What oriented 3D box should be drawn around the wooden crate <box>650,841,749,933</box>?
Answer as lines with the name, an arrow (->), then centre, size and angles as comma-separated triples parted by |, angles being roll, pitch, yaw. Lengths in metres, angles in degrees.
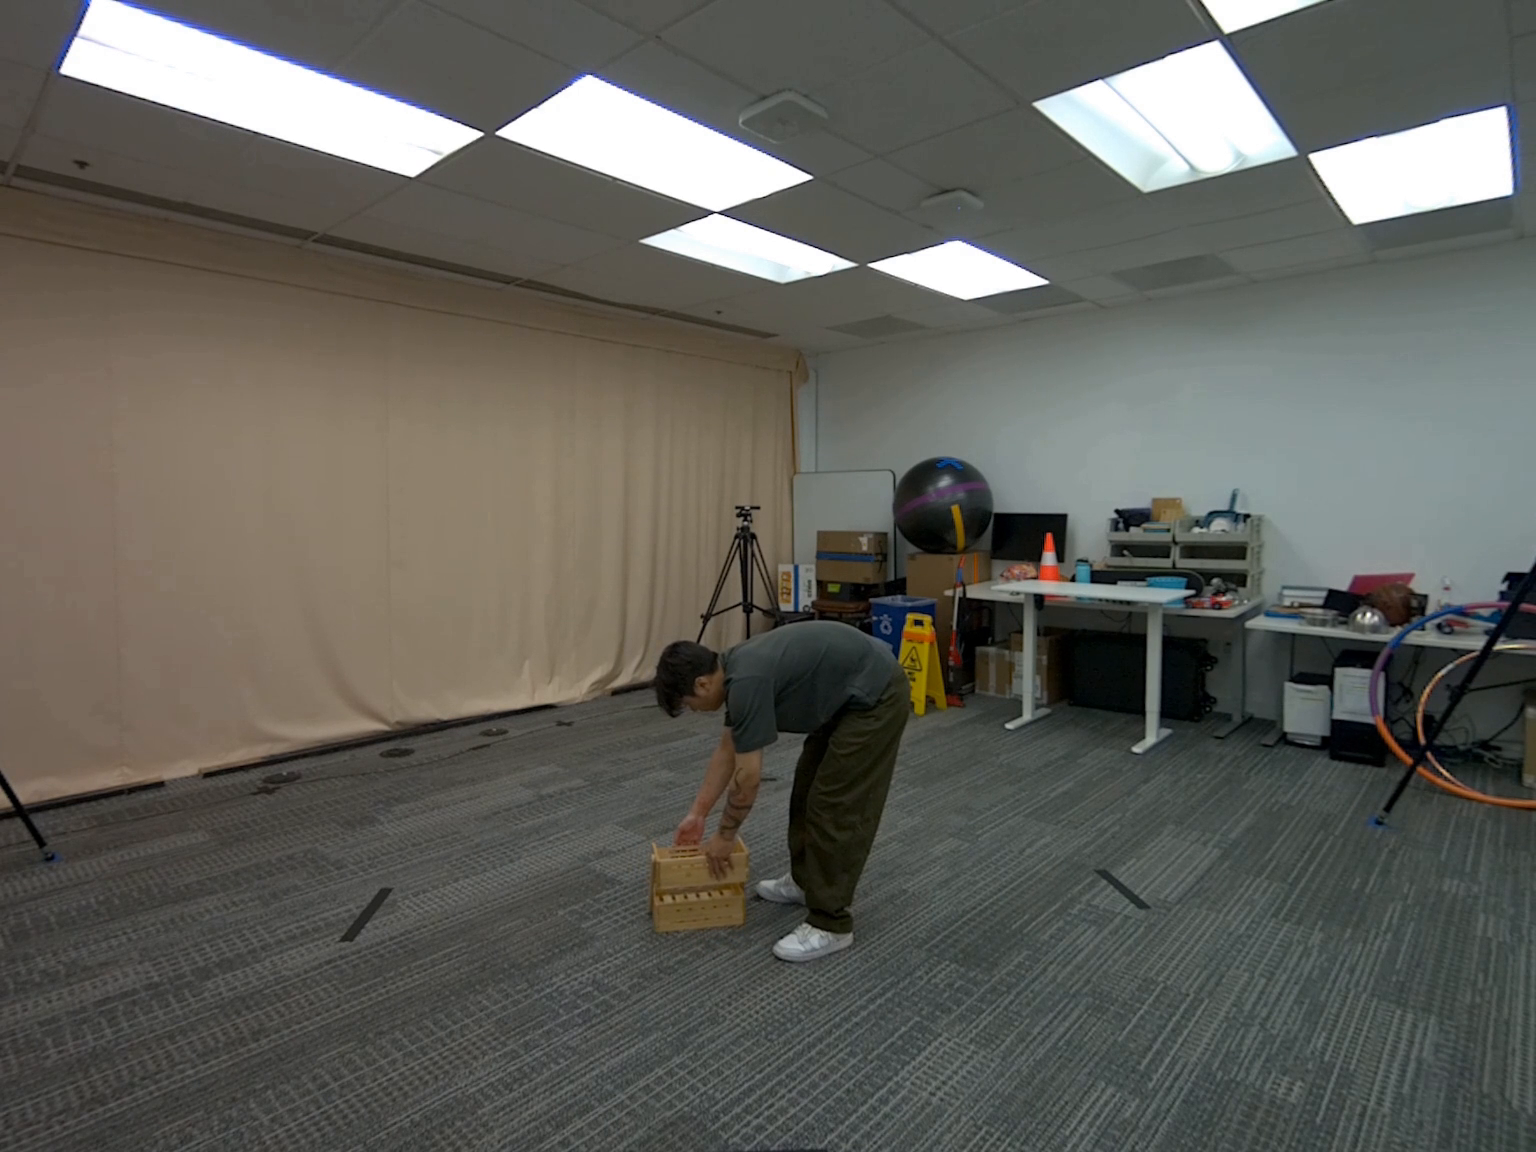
wooden crate -> -0.243, 1.019, 2.866 | 0.320, 0.272, 0.307 | -1, 4, -14
